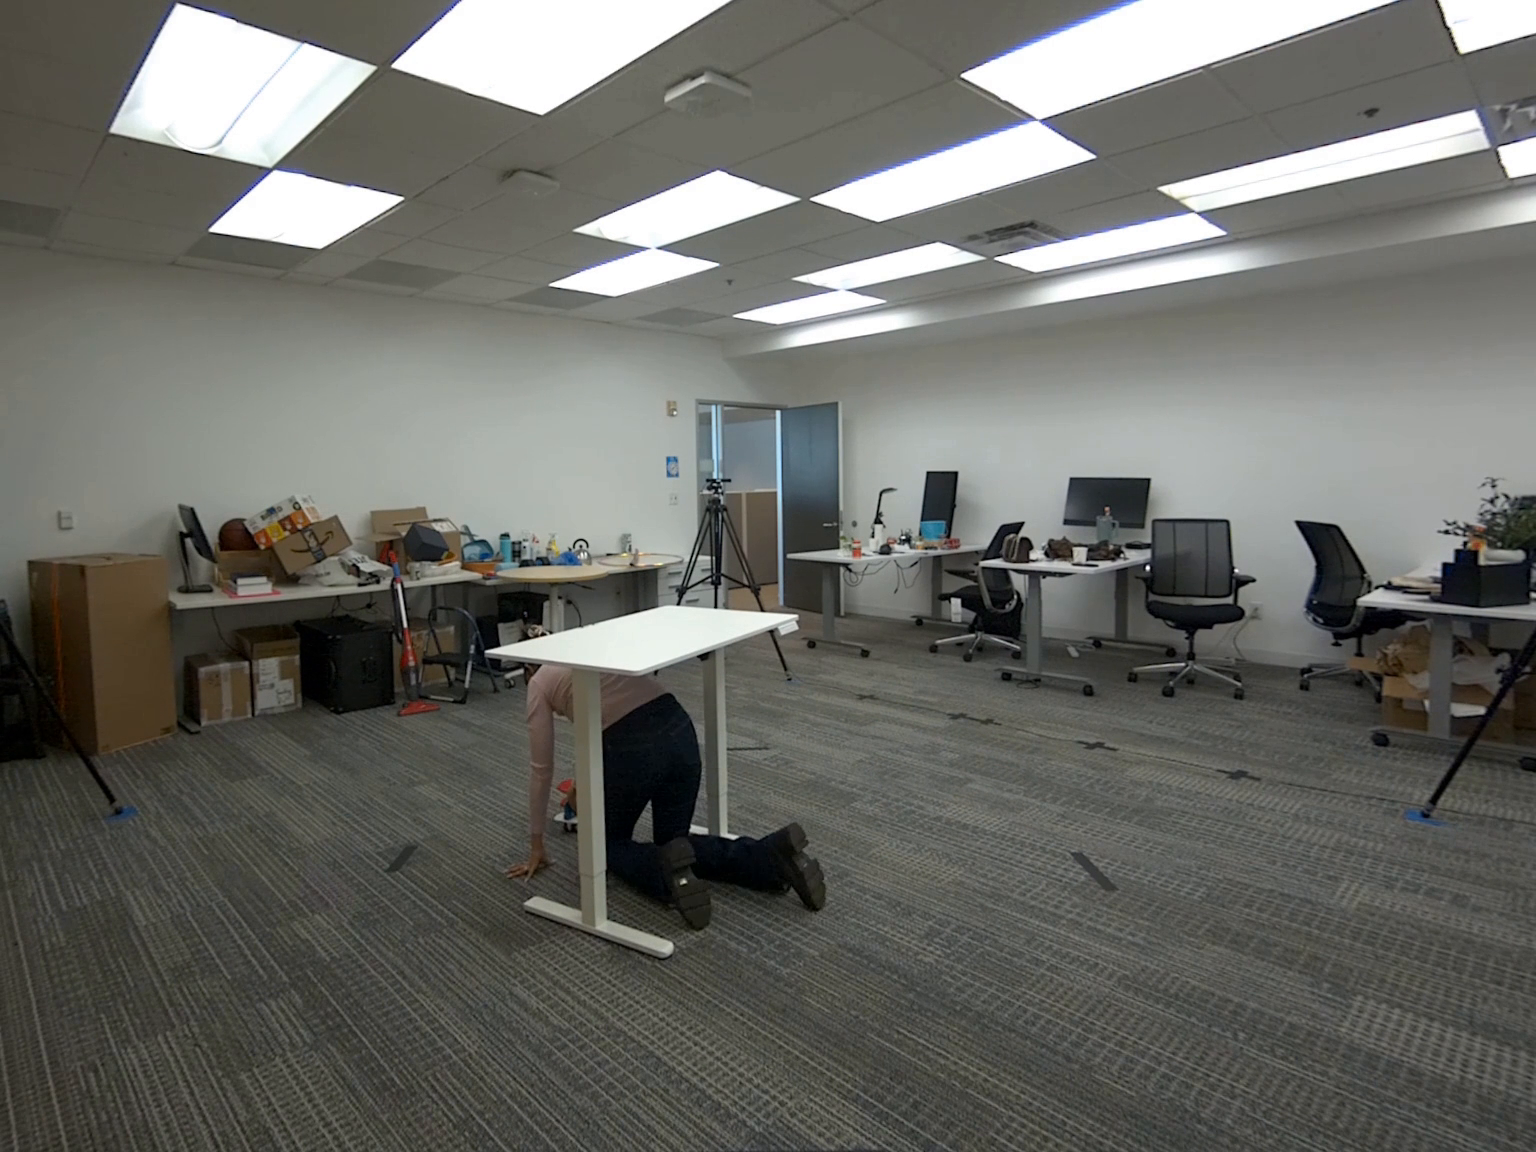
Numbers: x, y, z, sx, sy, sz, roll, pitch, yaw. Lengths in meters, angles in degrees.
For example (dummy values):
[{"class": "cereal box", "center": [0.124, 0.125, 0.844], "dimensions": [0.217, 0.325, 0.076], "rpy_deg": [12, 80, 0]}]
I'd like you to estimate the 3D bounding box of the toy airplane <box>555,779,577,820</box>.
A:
[{"class": "toy airplane", "center": [-0.729, 0.940, 3.502], "dimensions": [0.249, 0.156, 0.262], "rpy_deg": [-4, 4, -8]}]
